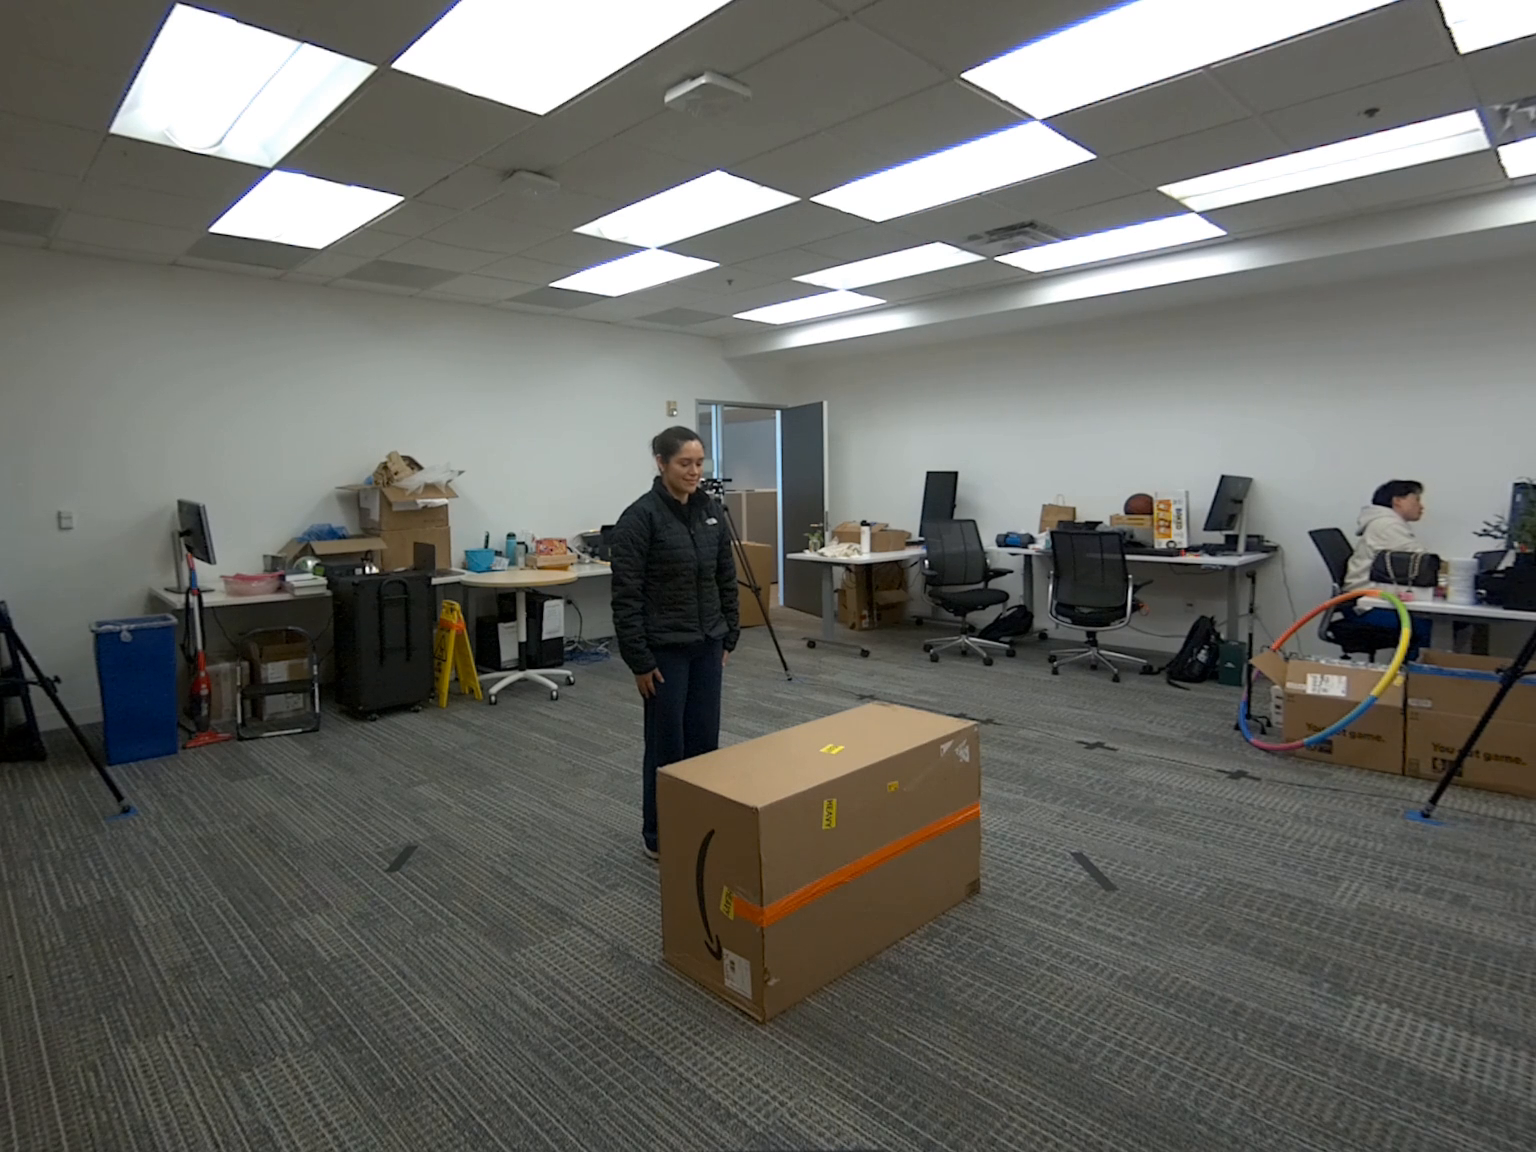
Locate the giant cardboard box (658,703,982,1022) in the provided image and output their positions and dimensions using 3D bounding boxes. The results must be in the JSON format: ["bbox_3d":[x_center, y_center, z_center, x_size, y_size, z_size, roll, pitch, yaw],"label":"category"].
[{"bbox_3d":[0.197,0.809,2.664,1.001,0.581,0.461,-7,9,-43],"label":"giant cardboard box"}]
